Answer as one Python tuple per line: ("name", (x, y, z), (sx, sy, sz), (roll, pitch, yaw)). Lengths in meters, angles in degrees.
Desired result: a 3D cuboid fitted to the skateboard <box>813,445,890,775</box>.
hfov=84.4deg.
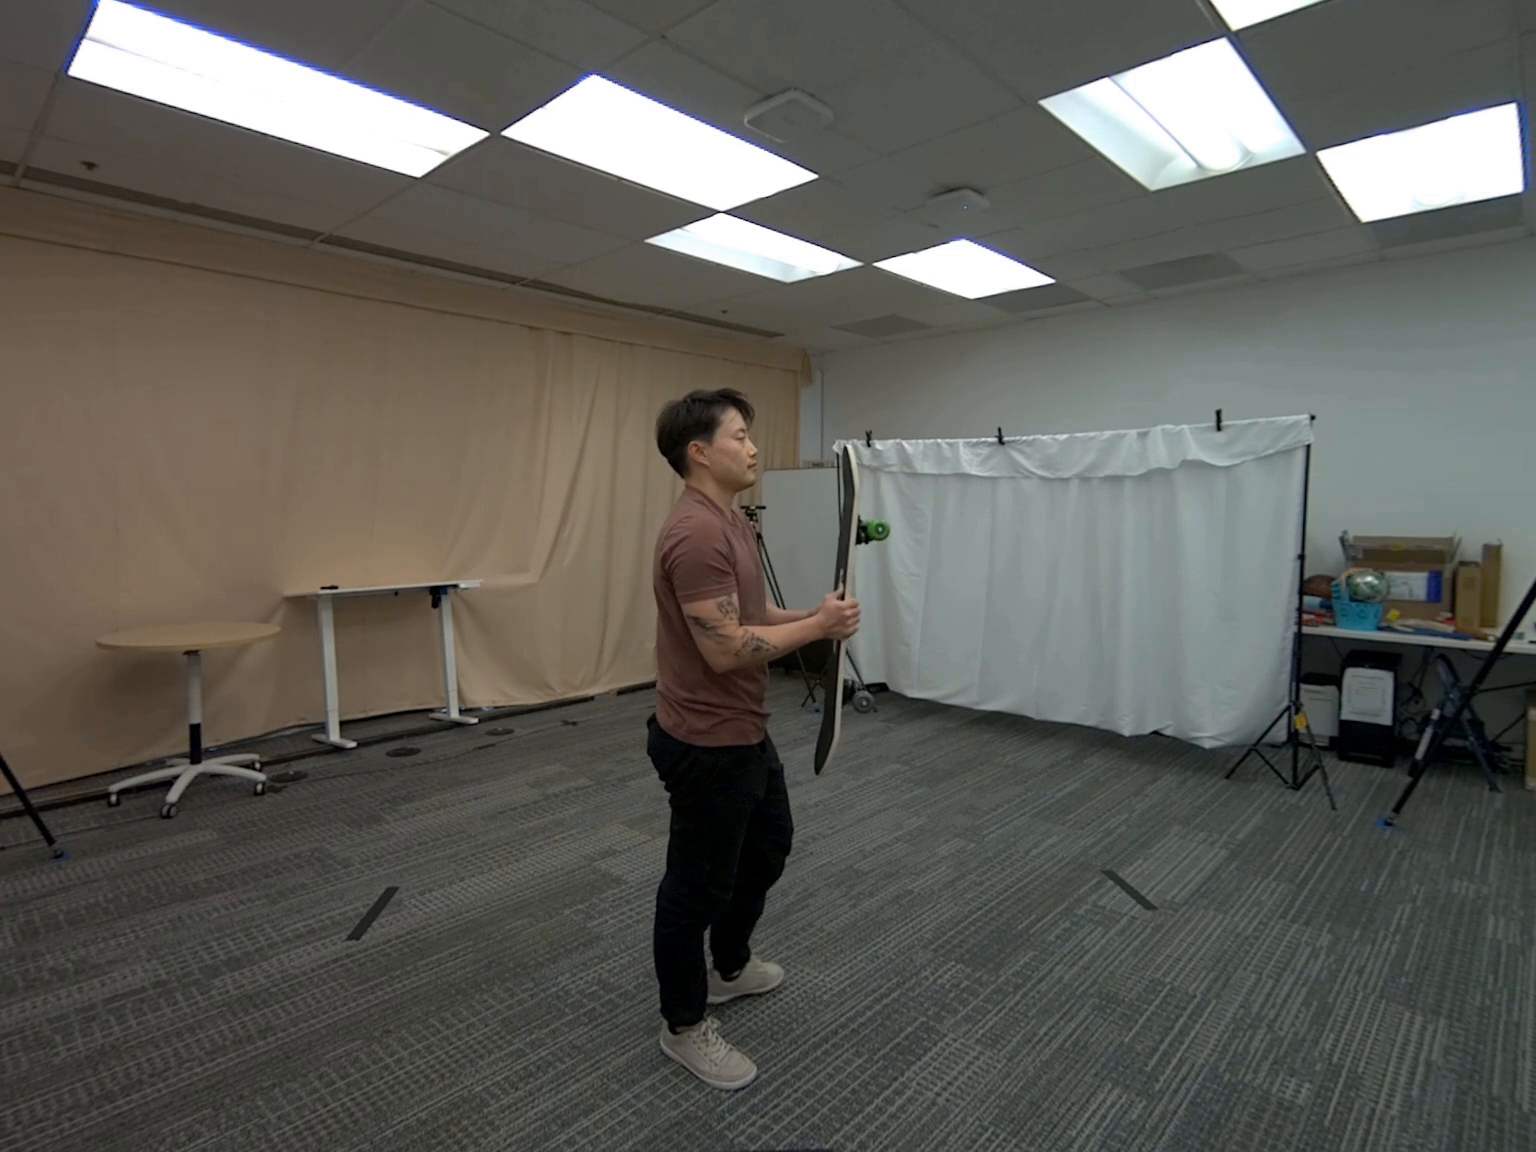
("skateboard", (0.211, 0.089, 2.008), (0.110, 0.783, 0.194), (5, 5, -2))
